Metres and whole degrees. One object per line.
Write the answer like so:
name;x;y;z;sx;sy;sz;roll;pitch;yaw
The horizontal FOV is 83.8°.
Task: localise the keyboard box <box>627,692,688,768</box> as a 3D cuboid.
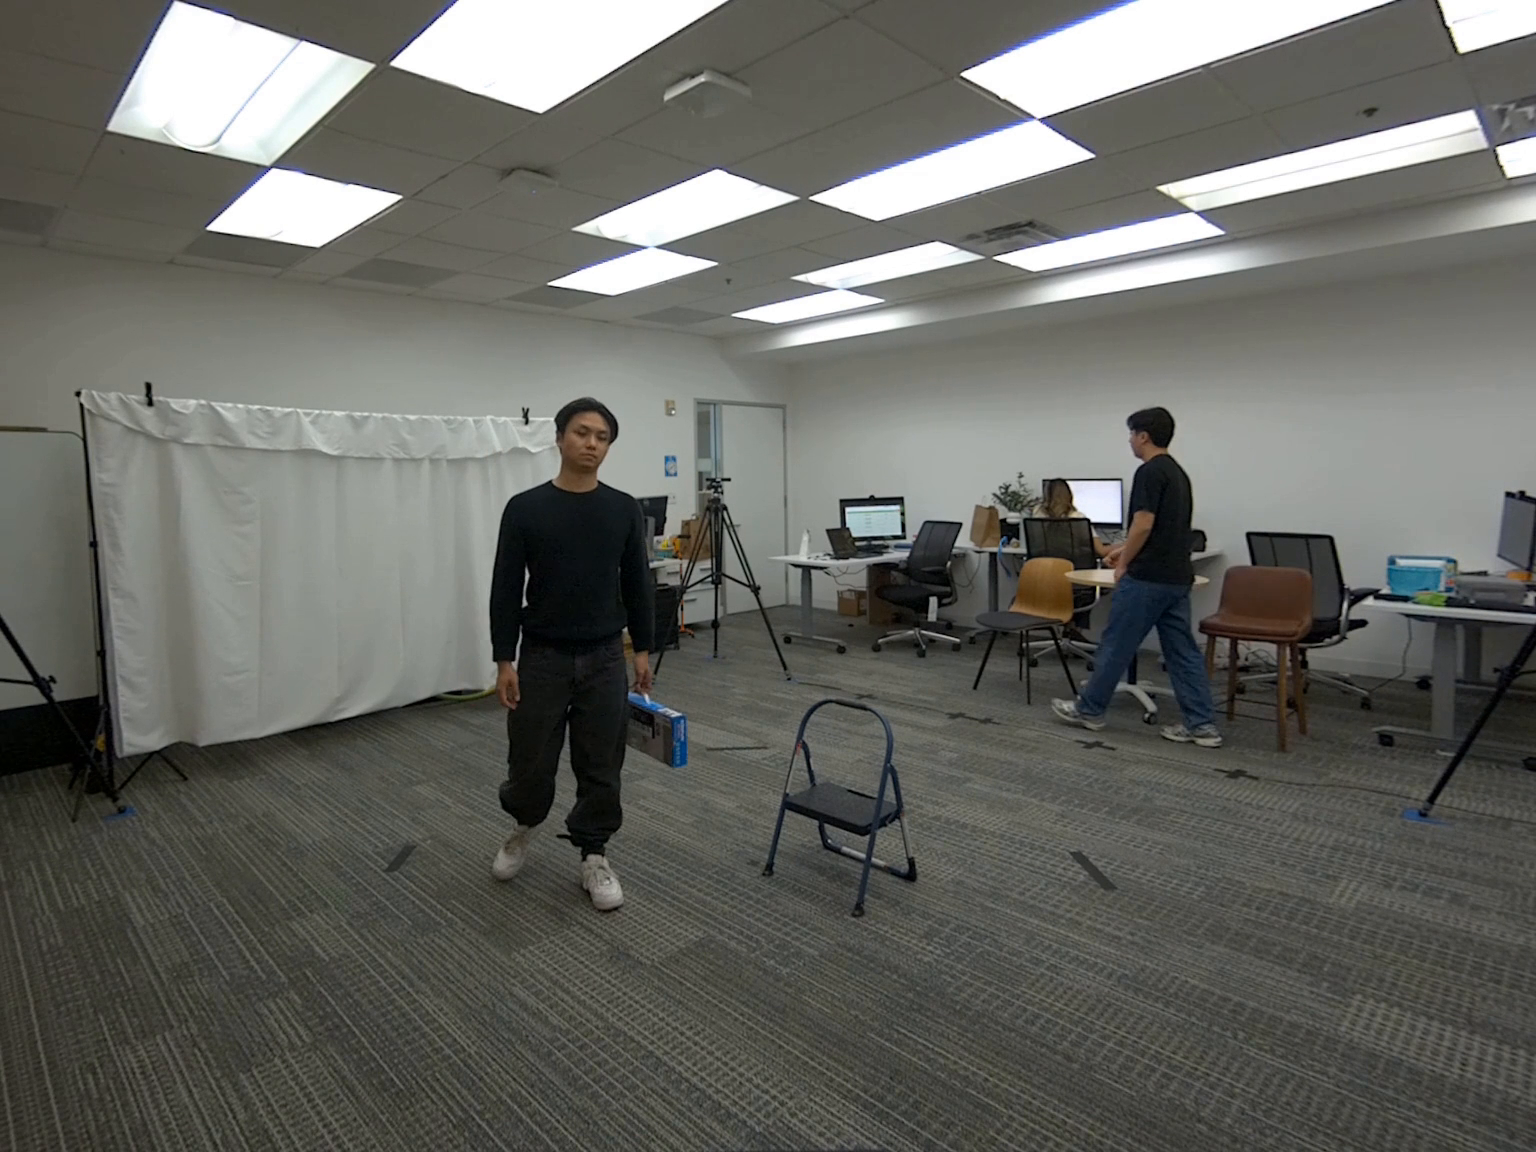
keyboard box;-0.441;0.522;2.992;0.057;0.175;0.451;-5;10;-40
